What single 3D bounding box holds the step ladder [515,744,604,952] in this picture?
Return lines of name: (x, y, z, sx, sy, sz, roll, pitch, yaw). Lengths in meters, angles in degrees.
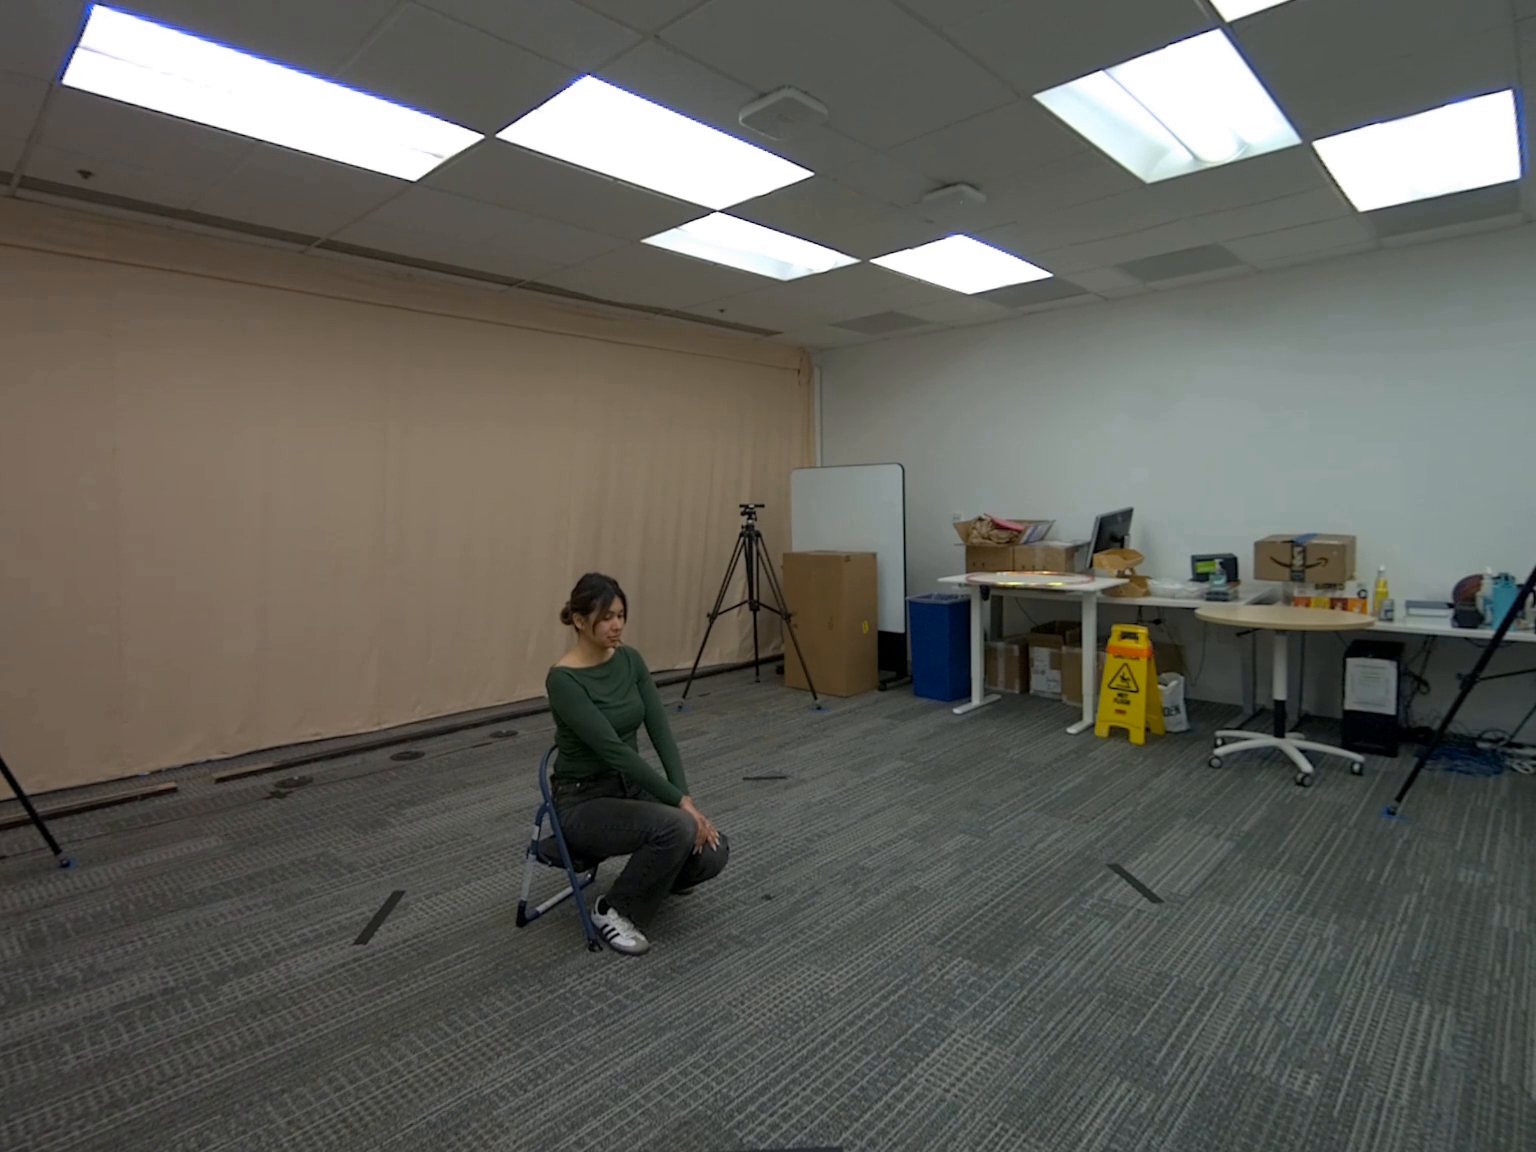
step ladder: (-0.613, 0.866, 2.898, 0.358, 0.605, 0.420, 0, 3, 27)
